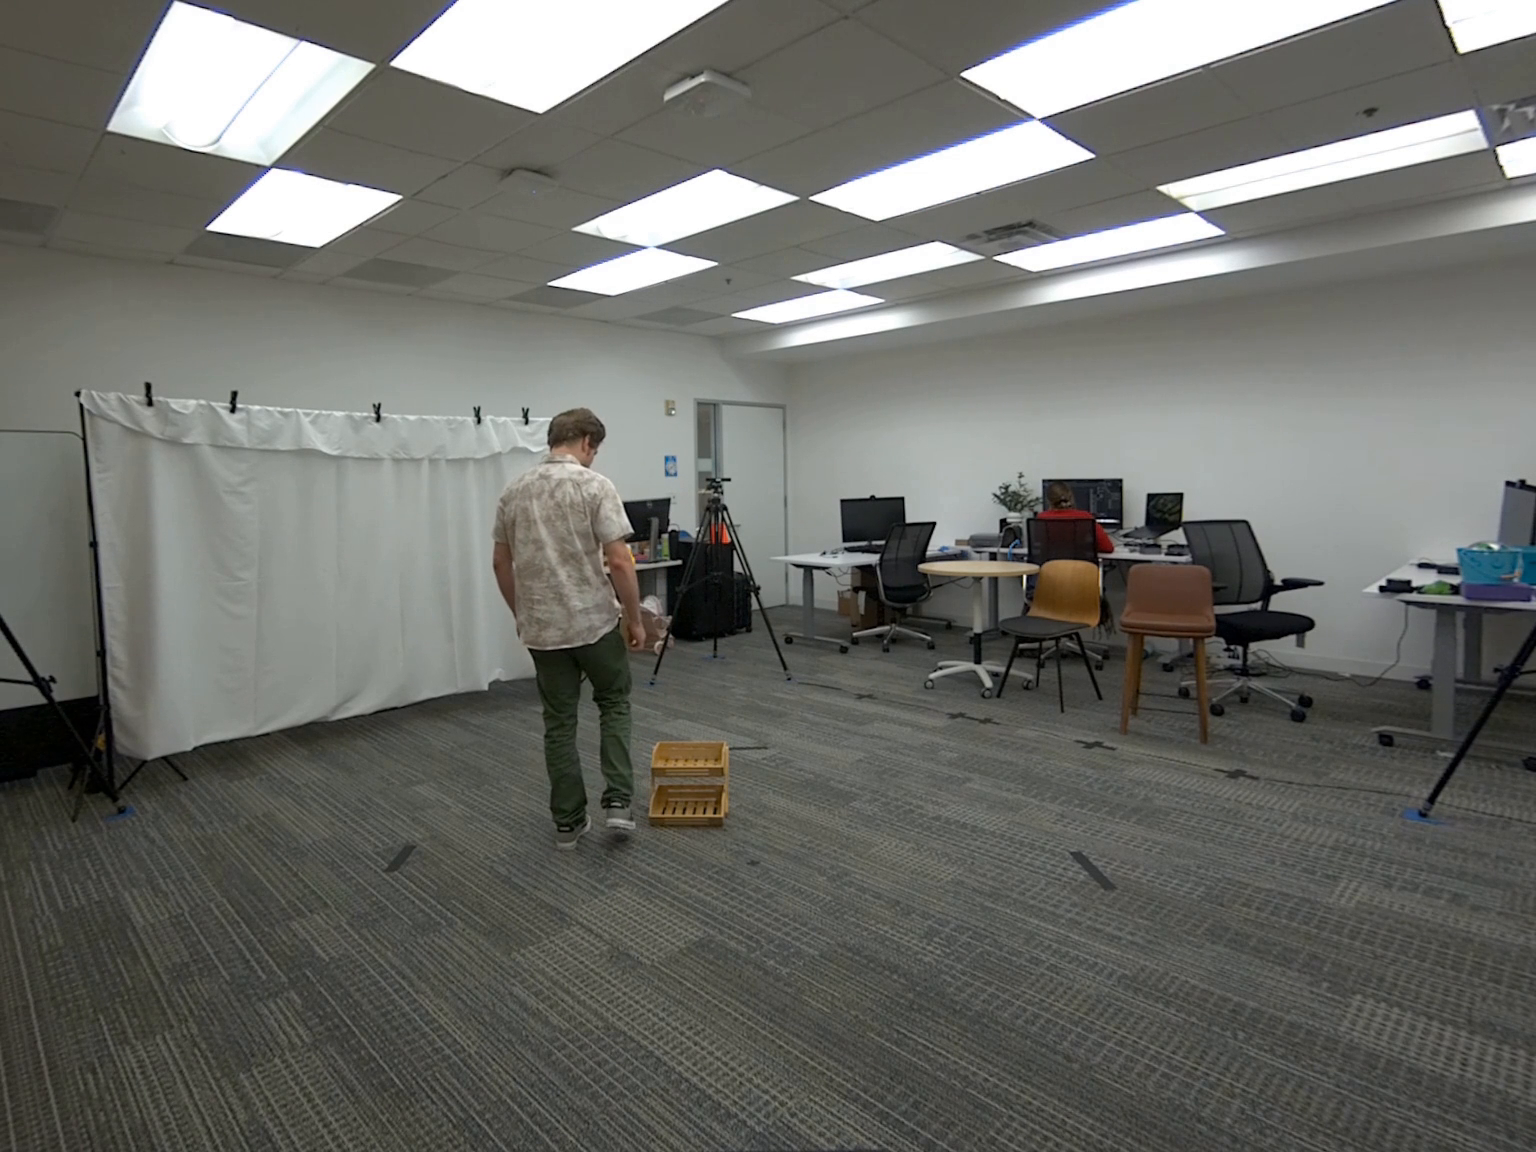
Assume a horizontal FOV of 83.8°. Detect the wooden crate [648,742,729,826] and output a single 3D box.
[{"bbox_3d":[-0.329,0.859,3.564,0.325,0.272,0.302,-1,4,2],"label":"wooden crate"}]
